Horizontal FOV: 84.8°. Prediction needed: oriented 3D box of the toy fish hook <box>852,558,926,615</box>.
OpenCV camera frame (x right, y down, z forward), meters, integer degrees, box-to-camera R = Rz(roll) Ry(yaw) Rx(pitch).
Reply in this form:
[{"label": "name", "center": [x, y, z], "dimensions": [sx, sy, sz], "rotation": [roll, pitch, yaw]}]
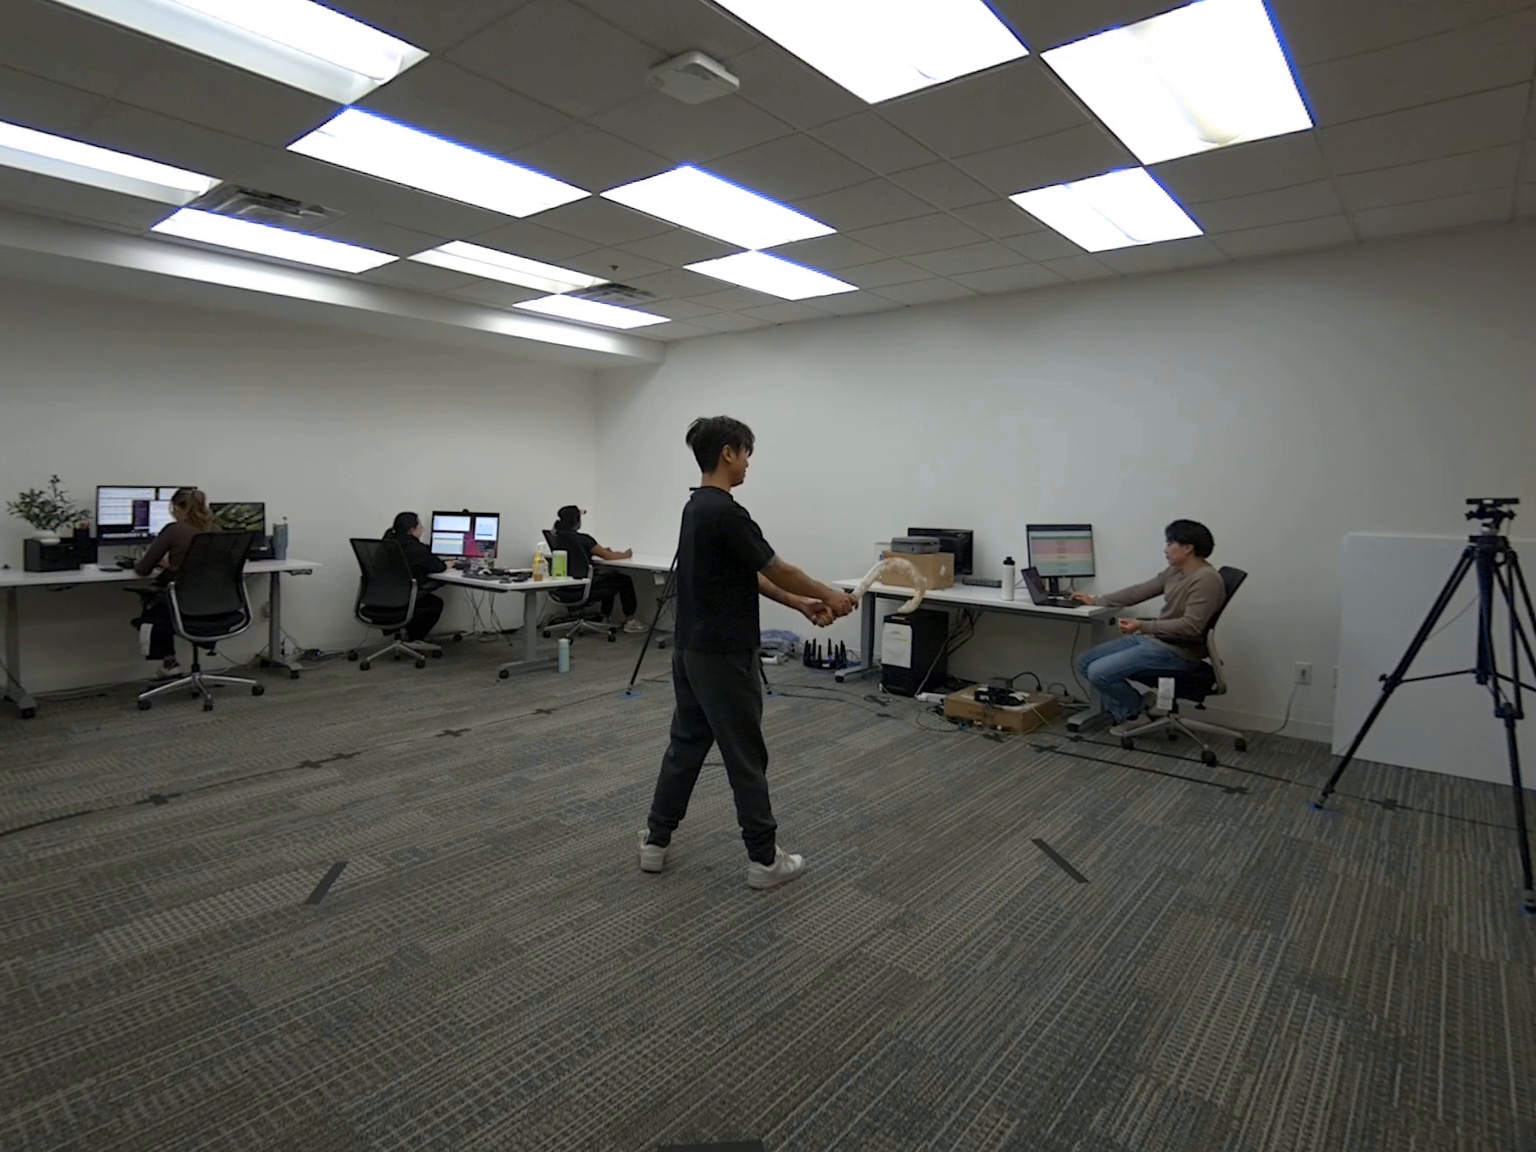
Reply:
[{"label": "toy fish hook", "center": [0.366, 0.094, 3.142], "dimensions": [0.501, 0.231, 0.047], "rotation": [-31, -24, -25]}]
